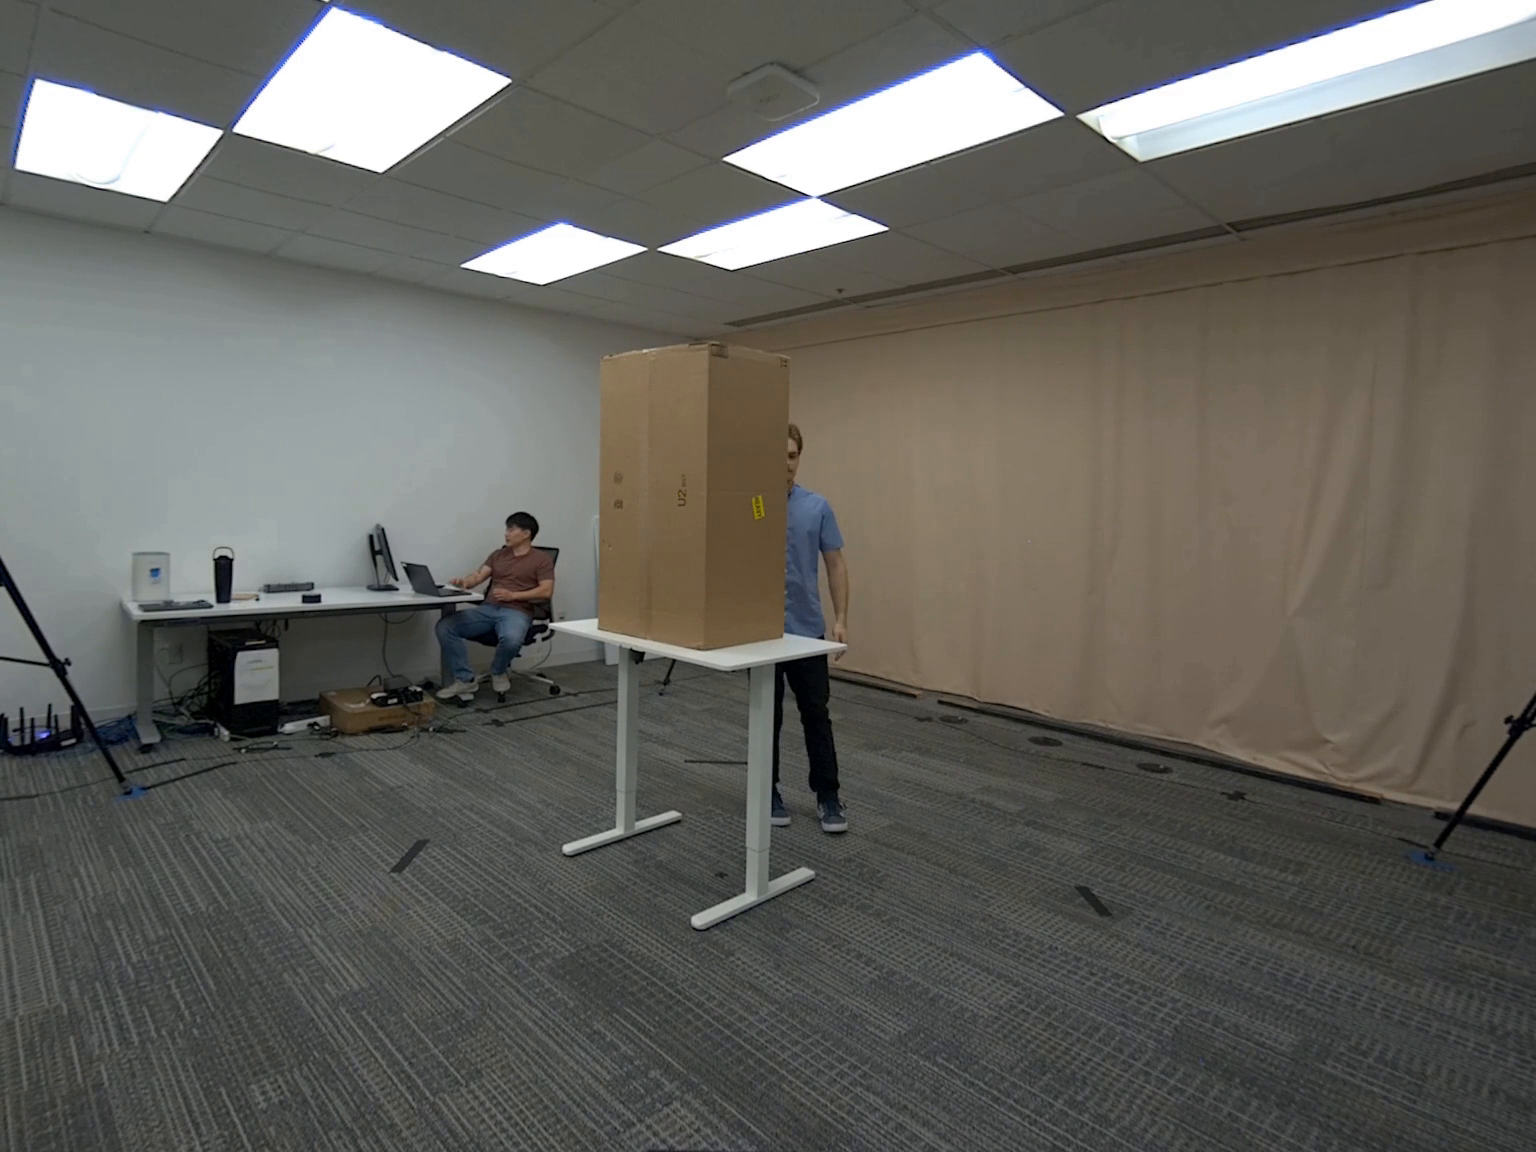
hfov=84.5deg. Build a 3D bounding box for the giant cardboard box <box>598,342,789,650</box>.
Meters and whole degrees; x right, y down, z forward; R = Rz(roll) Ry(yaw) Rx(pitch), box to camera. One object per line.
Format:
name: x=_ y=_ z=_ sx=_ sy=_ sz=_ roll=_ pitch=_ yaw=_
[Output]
giant cardboard box: x=-0.287 y=-0.291 z=3.109 sx=0.592 sy=1.023 sz=0.416 roll=4 pitch=4 yaw=43
